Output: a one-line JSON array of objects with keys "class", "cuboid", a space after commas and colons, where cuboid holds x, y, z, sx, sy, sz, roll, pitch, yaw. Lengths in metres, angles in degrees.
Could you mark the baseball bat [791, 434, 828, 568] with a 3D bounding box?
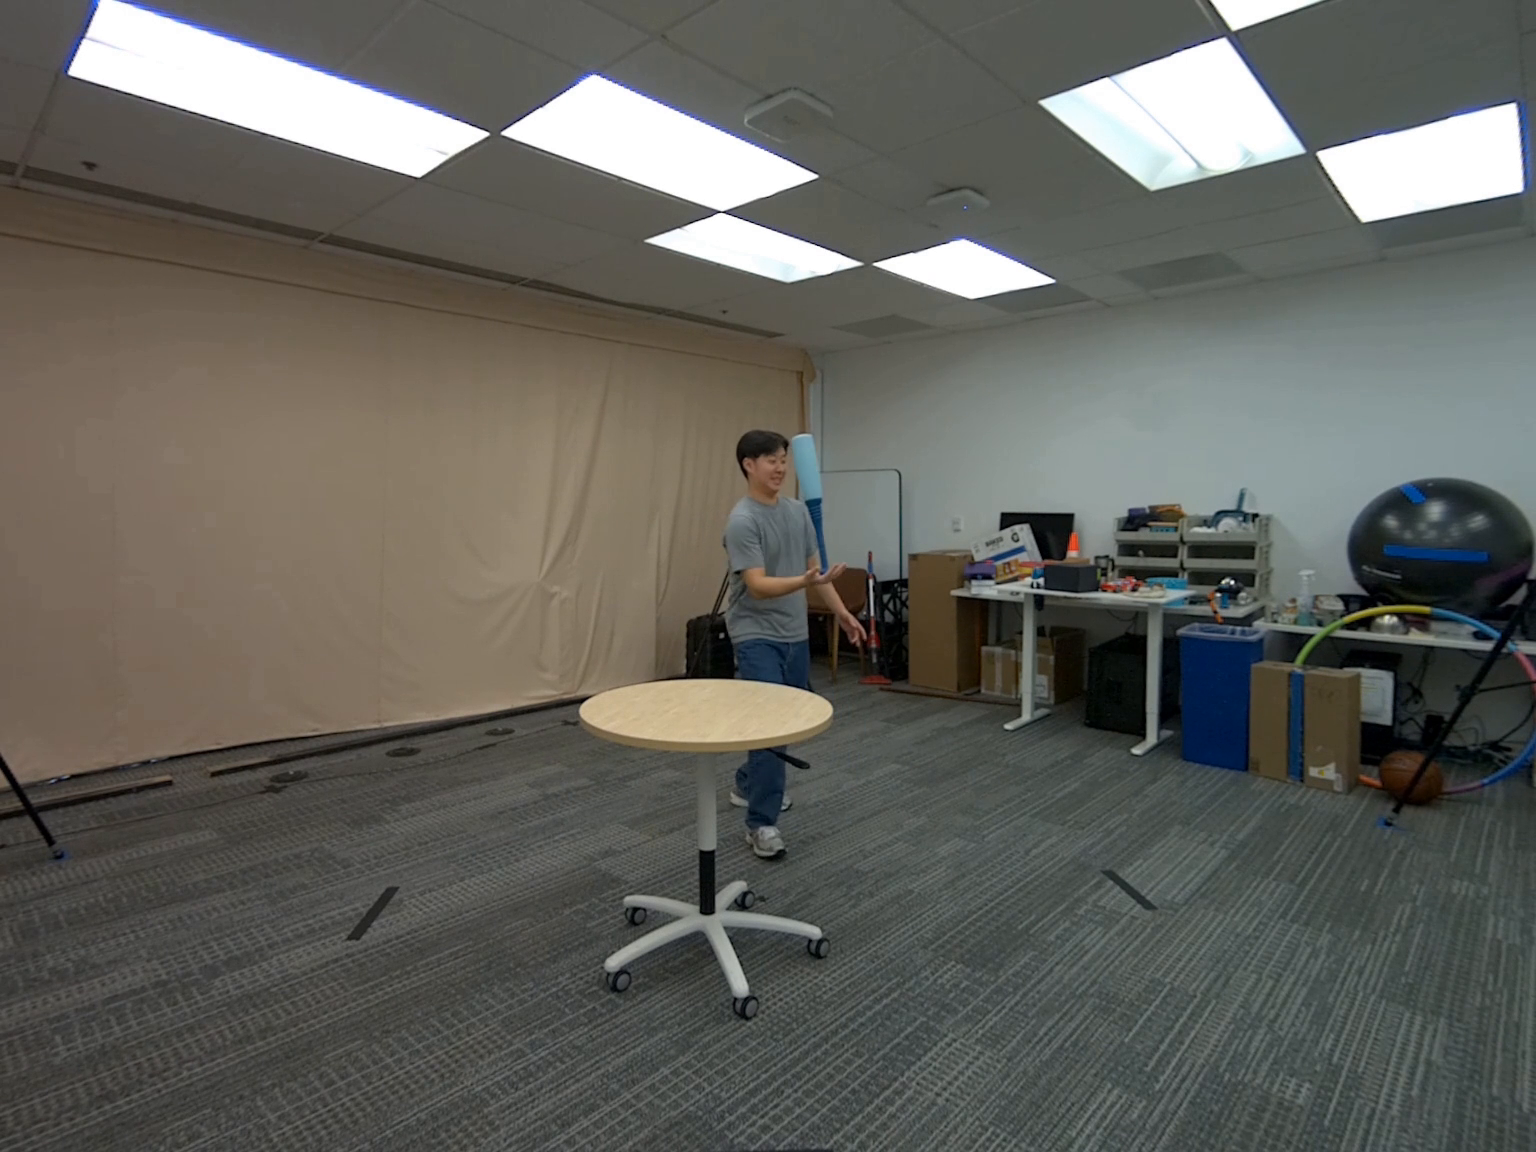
[{"class": "baseball bat", "cuboid": [0.170, -0.275, 3.211, 0.089, 0.545, 0.089, -9, -4, -2]}]
